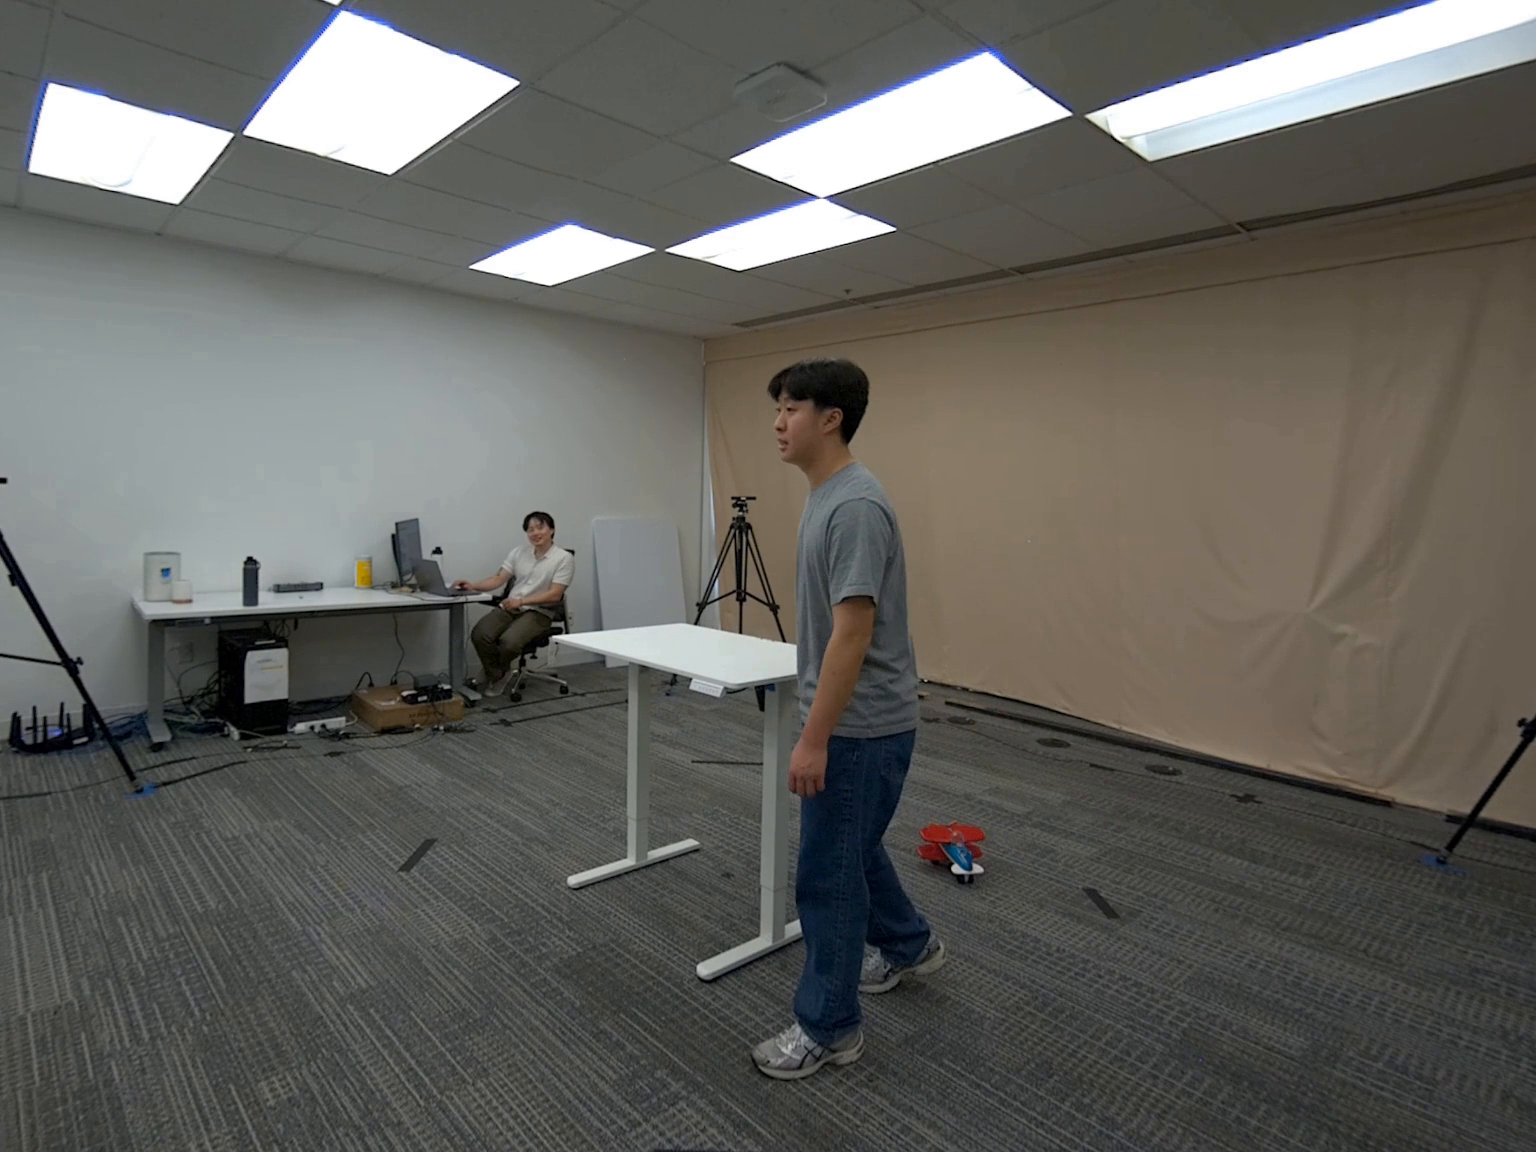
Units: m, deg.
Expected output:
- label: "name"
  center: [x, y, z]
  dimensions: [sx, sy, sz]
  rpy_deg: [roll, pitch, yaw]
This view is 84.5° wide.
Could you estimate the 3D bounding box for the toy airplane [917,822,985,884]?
- label: "toy airplane"
  center: [0.721, 1.048, 3.187]
  dimensions: [0.245, 0.156, 0.266]
  rpy_deg: [-2, 5, -40]
